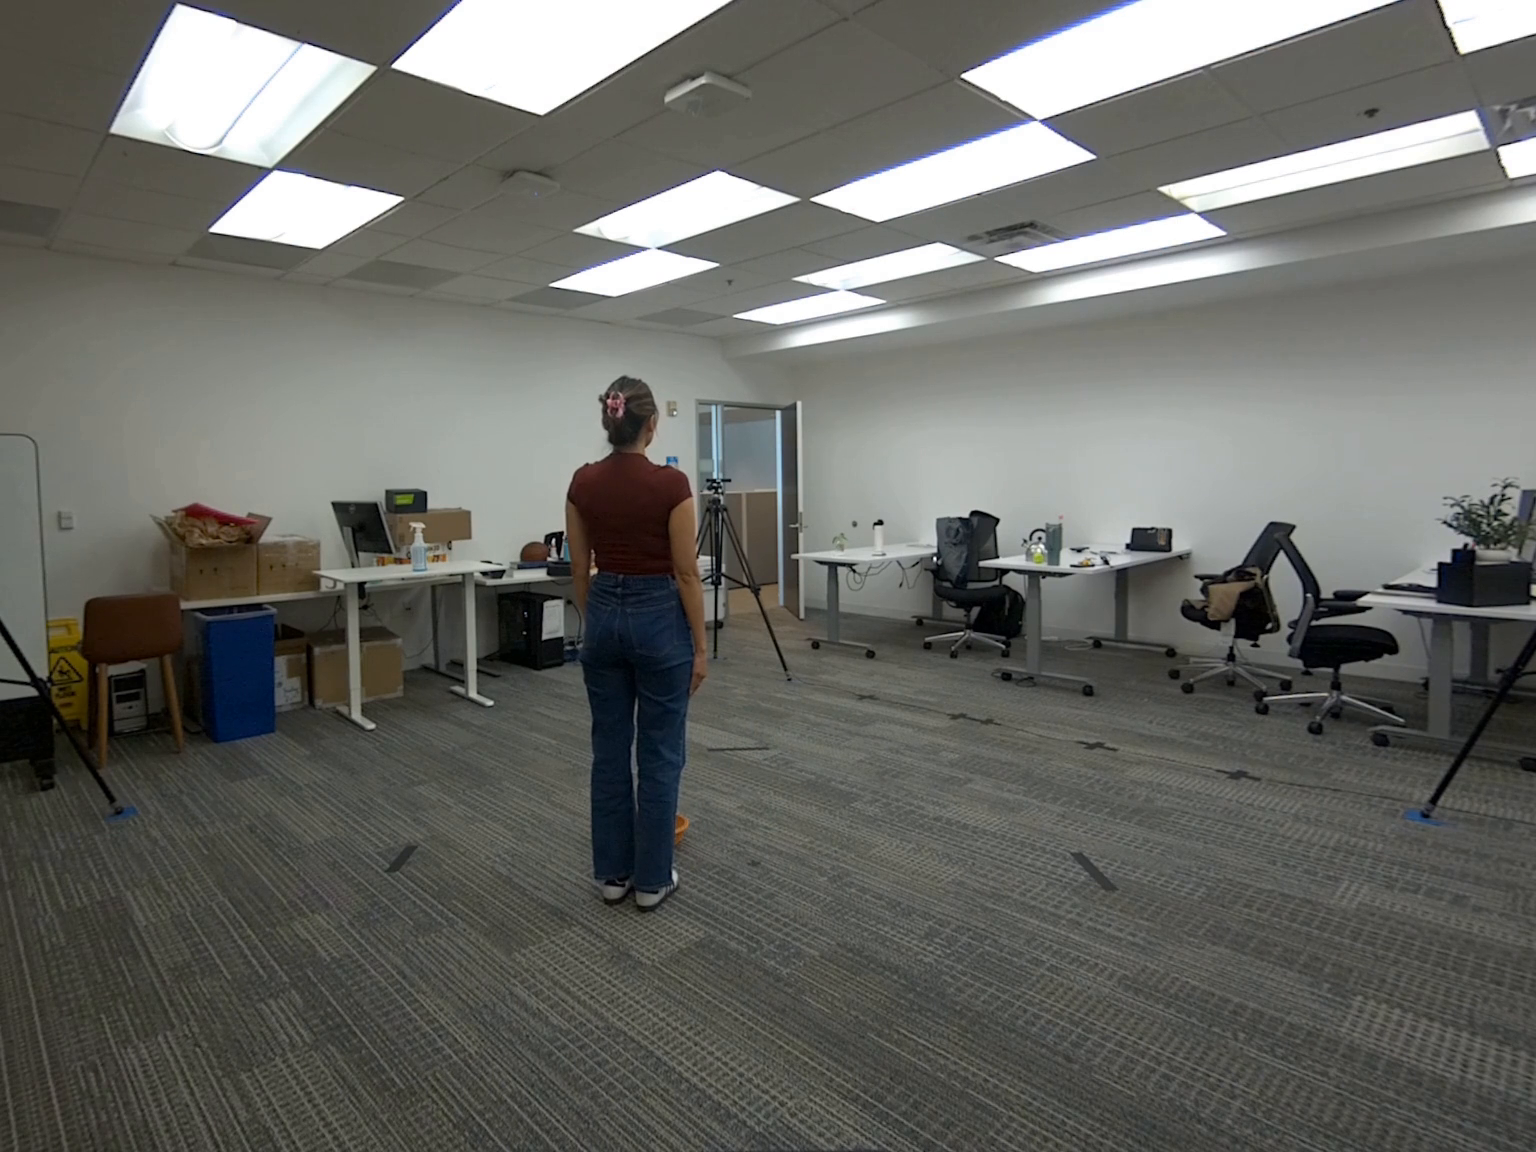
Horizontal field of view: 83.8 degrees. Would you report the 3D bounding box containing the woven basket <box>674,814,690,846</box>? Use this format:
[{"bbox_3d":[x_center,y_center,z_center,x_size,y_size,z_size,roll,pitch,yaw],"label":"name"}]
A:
[{"bbox_3d":[-0.468,1.004,3.330,0.356,0.073,0.249,1,4,15],"label":"woven basket"}]
